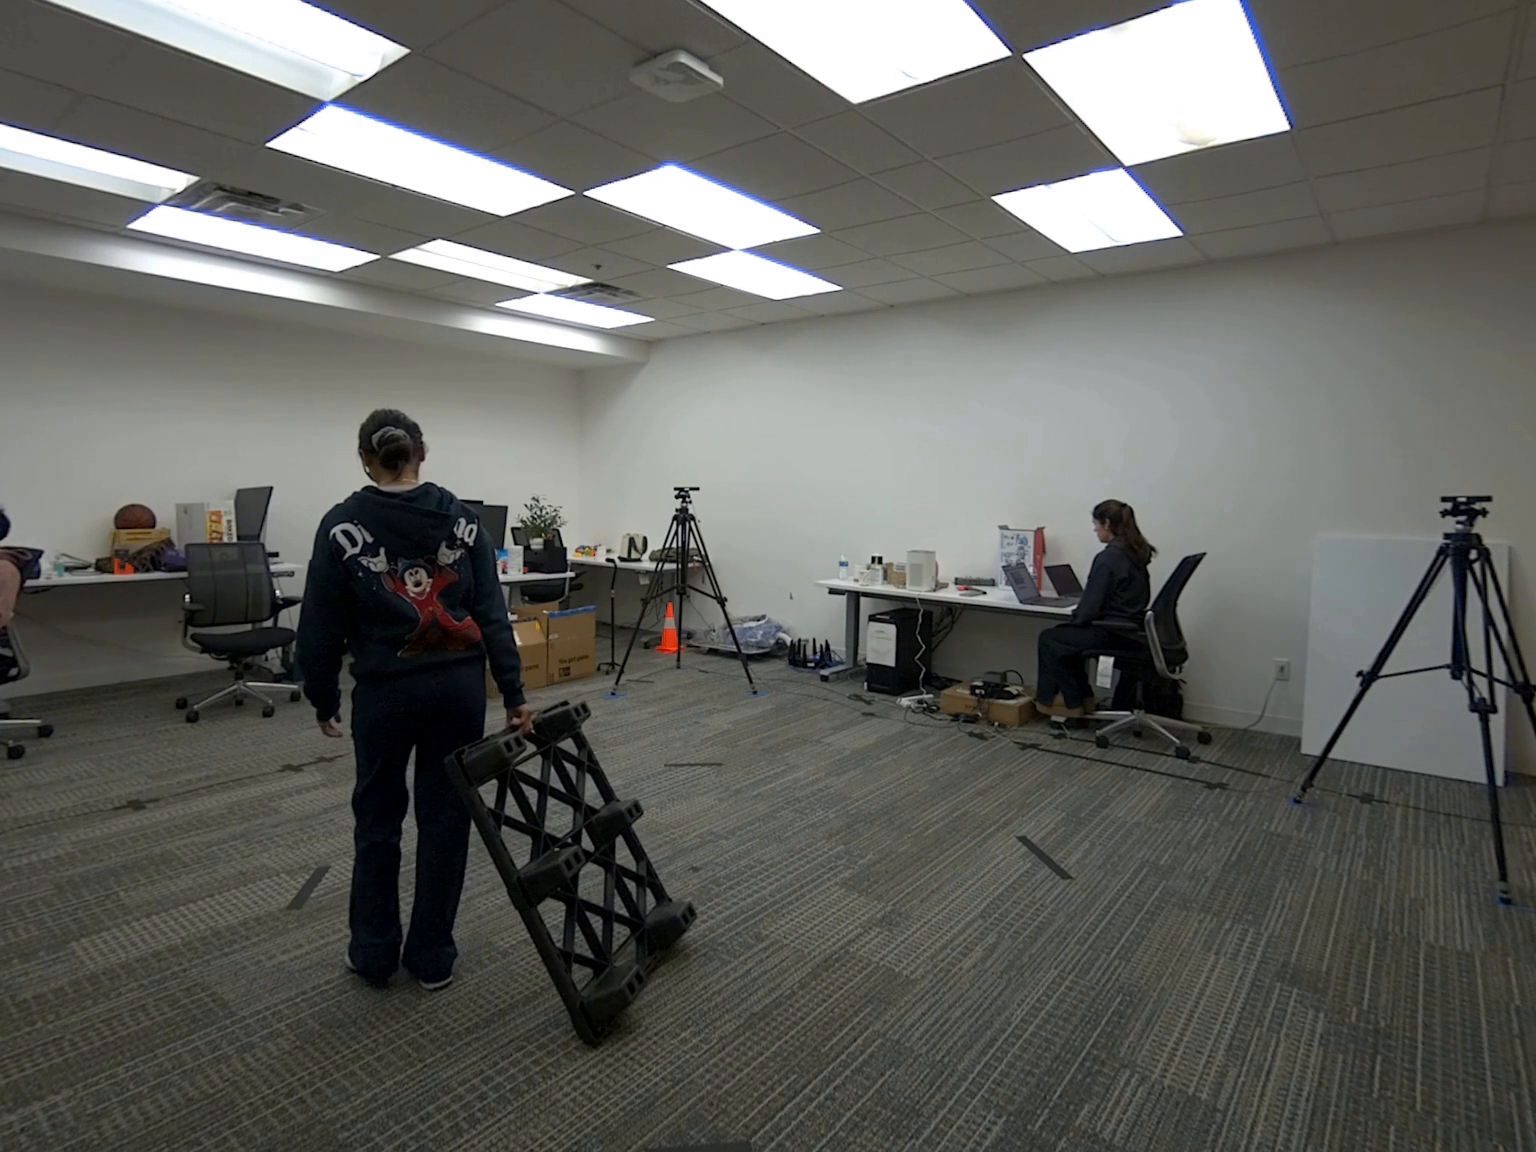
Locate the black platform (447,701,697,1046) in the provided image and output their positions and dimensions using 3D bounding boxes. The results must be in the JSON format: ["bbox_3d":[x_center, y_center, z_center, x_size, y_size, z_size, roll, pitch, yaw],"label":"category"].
[{"bbox_3d":[-0.519,0.765,2.413,0.144,0.813,0.596,-32,-6,17],"label":"black platform"}]
